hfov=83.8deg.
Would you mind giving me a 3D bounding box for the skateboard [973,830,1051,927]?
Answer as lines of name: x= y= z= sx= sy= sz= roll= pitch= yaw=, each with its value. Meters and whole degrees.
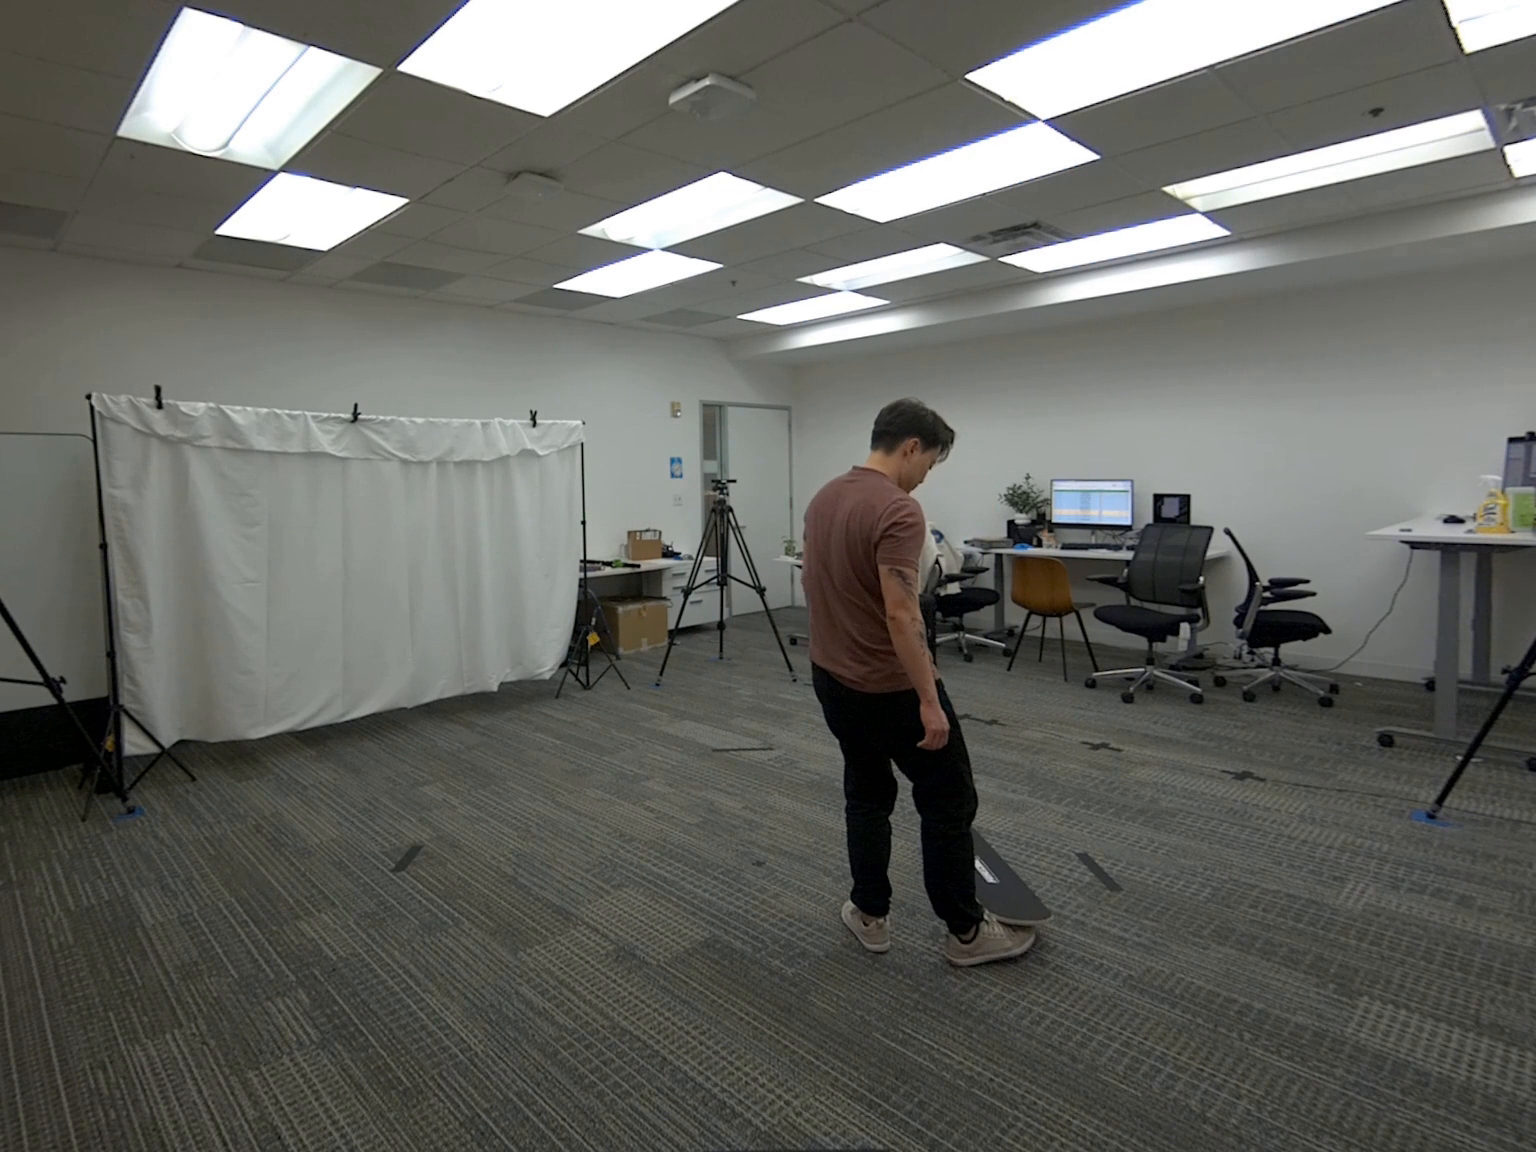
skateboard: x=0.716 y=1.003 z=2.843 sx=0.192 sy=0.110 sz=0.792 roll=-3 pitch=6 yaw=-6
